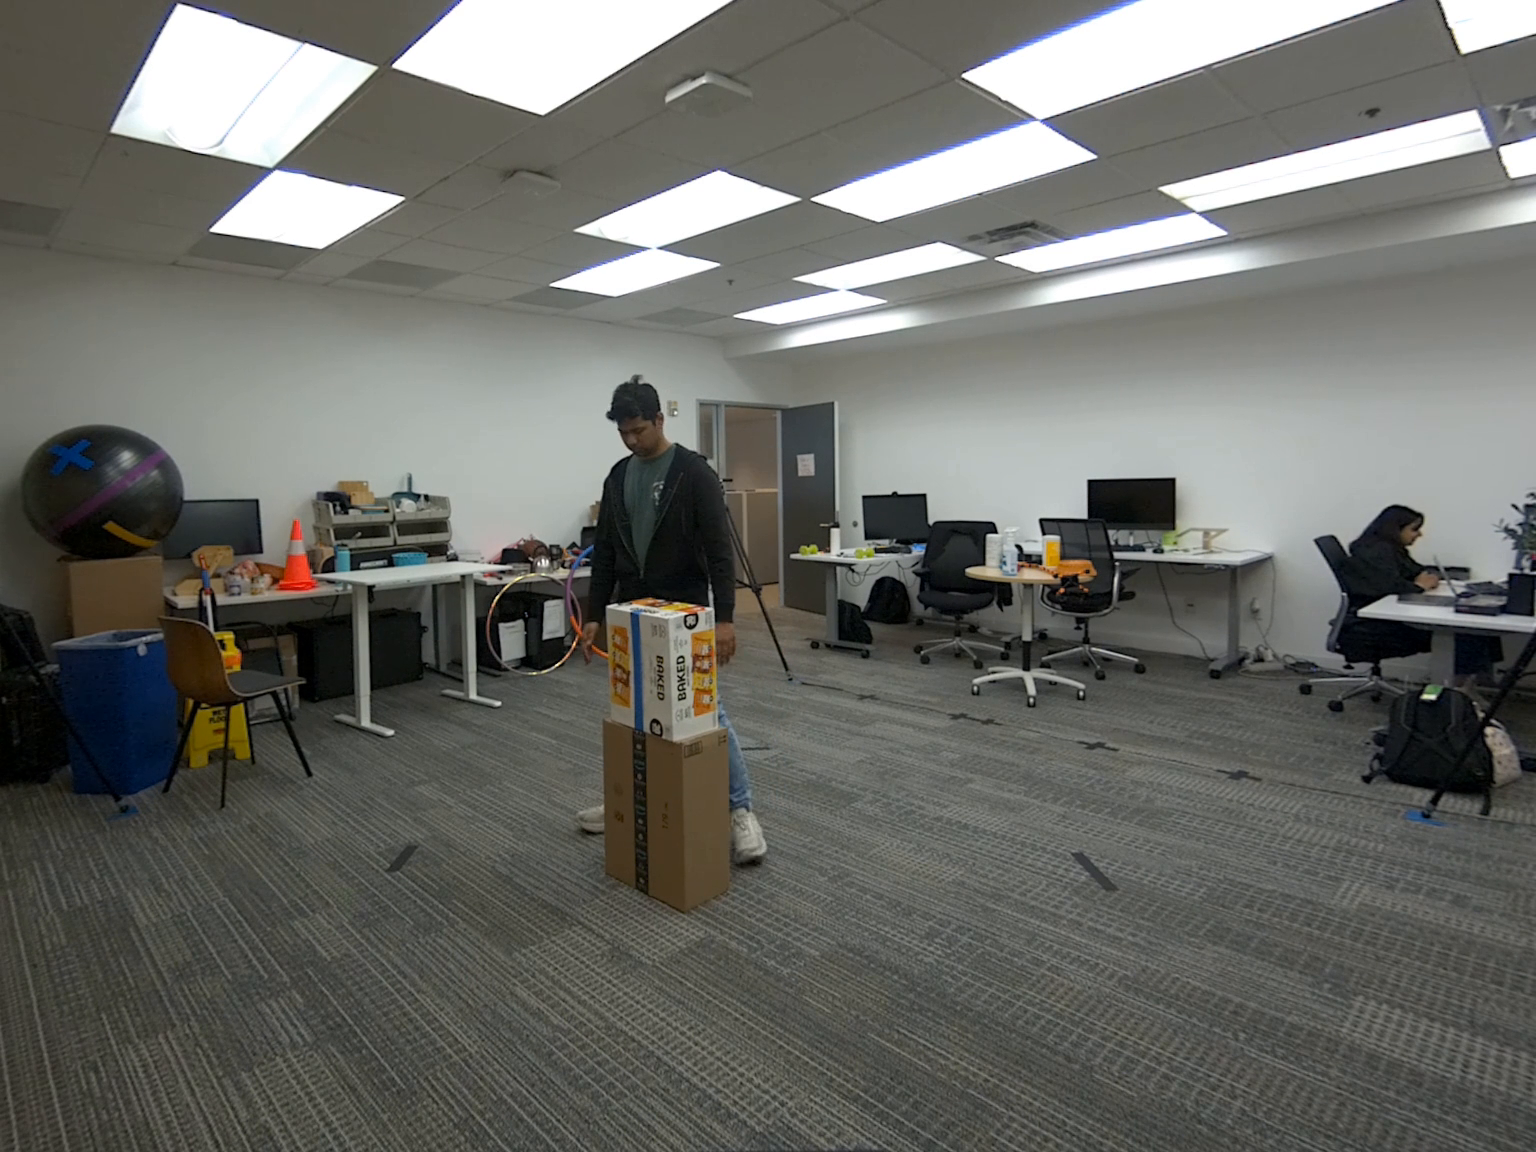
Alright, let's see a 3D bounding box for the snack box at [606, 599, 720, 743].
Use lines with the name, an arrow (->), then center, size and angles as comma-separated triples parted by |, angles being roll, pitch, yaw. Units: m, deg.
snack box -> -0.363, 0.308, 2.901 | 0.200, 0.403, 0.351 | -8, 8, -44
